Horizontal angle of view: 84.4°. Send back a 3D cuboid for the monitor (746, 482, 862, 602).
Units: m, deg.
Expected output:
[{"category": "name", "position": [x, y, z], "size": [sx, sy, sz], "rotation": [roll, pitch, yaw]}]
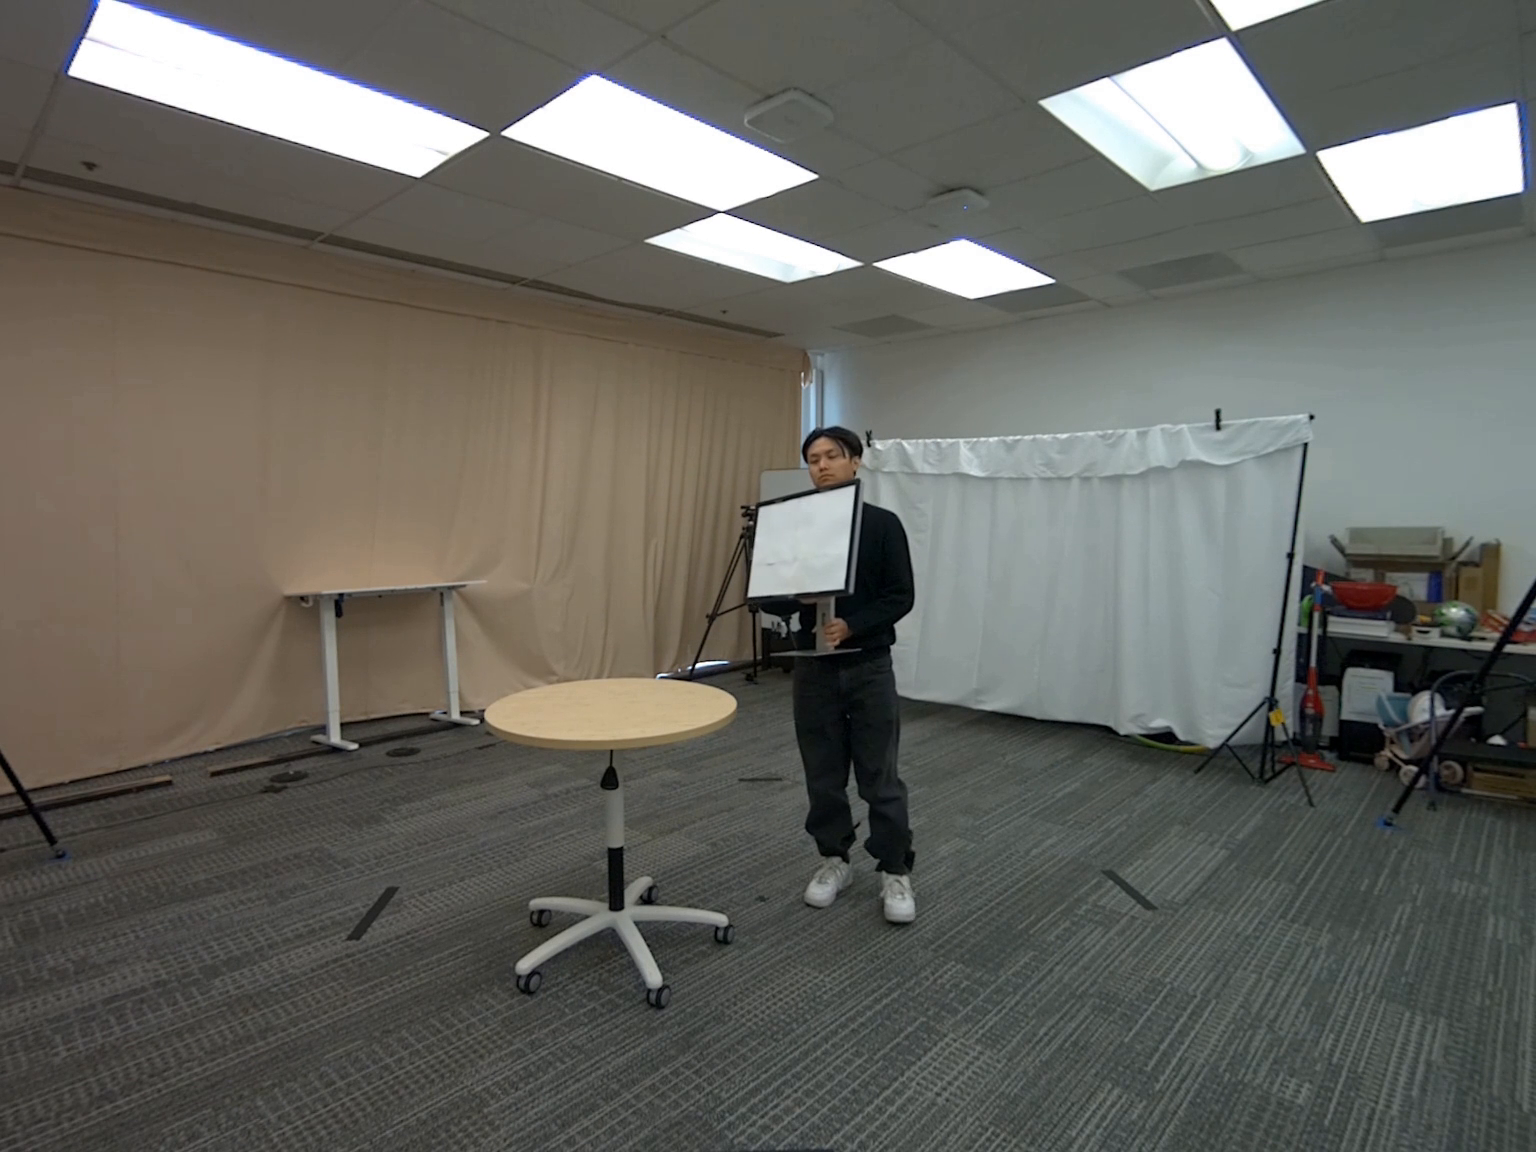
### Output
[{"category": "monitor", "position": [0.137, -0.012, 2.789], "size": [0.170, 0.516, 0.545], "rotation": [-6, 0, -35]}]
